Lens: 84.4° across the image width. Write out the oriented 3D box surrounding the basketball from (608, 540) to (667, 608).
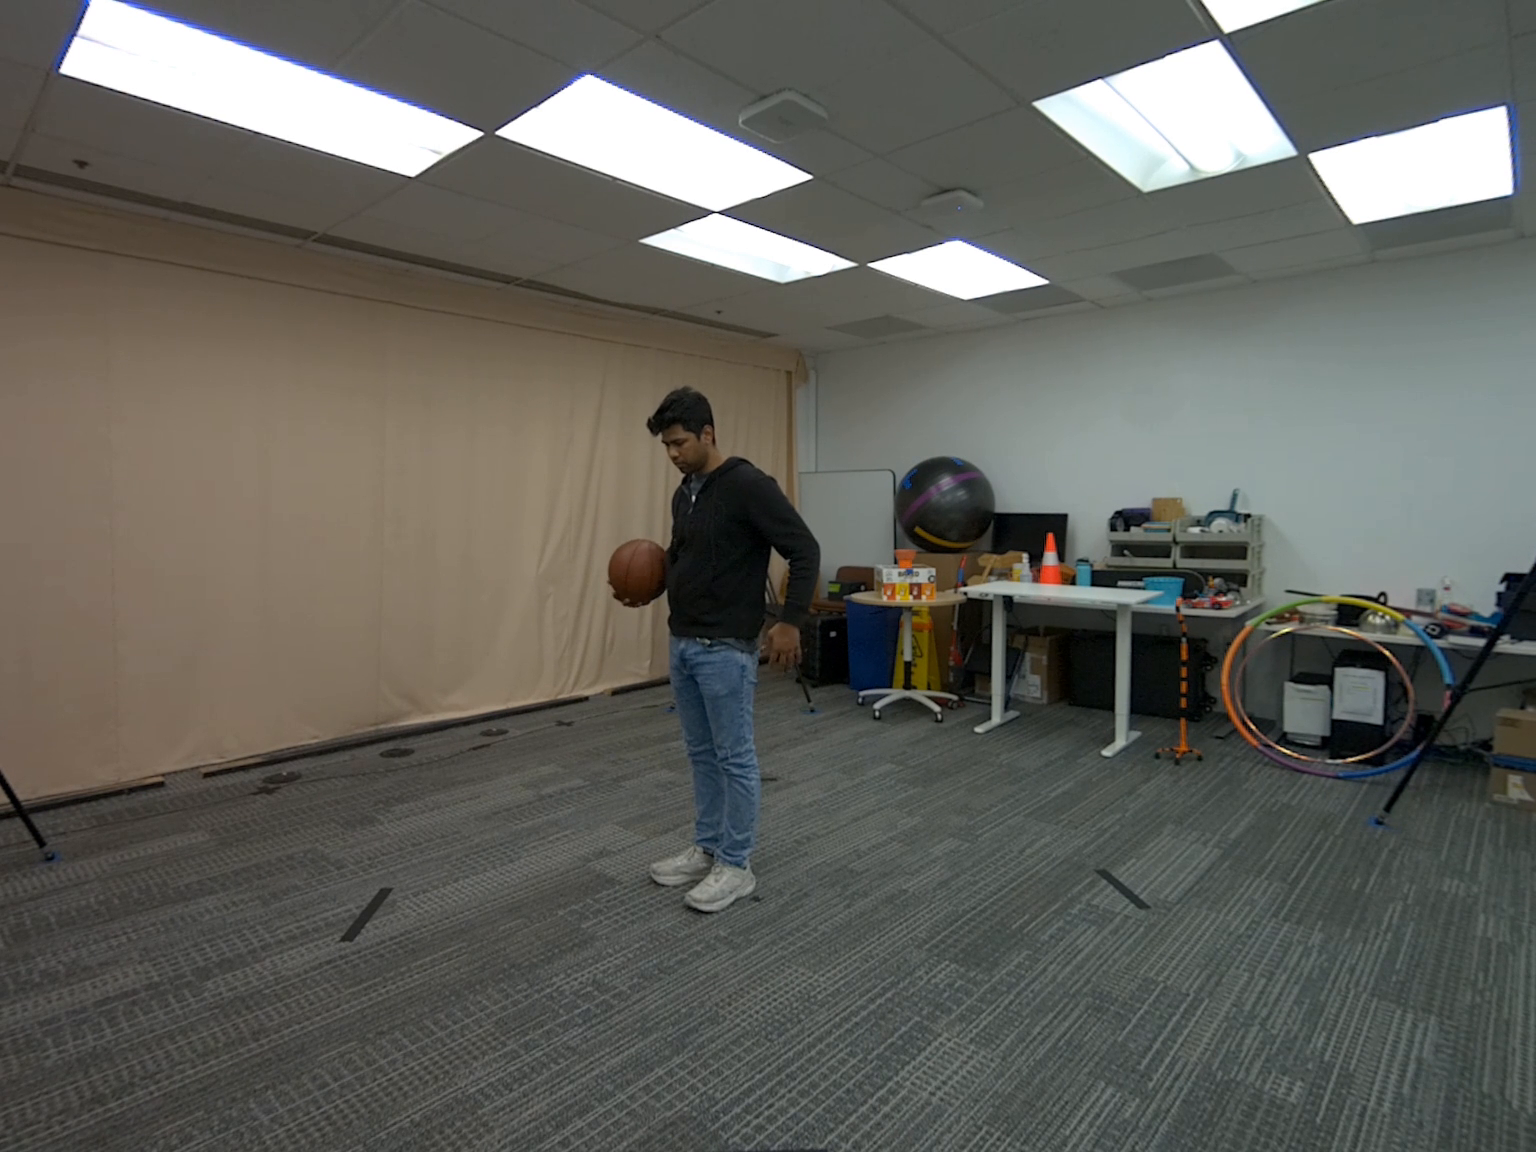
[{"bbox_3d":[-0.464,-0.021,3.135,0.236,0.235,0.237,0,4,-2],"label":"basketball"}]
